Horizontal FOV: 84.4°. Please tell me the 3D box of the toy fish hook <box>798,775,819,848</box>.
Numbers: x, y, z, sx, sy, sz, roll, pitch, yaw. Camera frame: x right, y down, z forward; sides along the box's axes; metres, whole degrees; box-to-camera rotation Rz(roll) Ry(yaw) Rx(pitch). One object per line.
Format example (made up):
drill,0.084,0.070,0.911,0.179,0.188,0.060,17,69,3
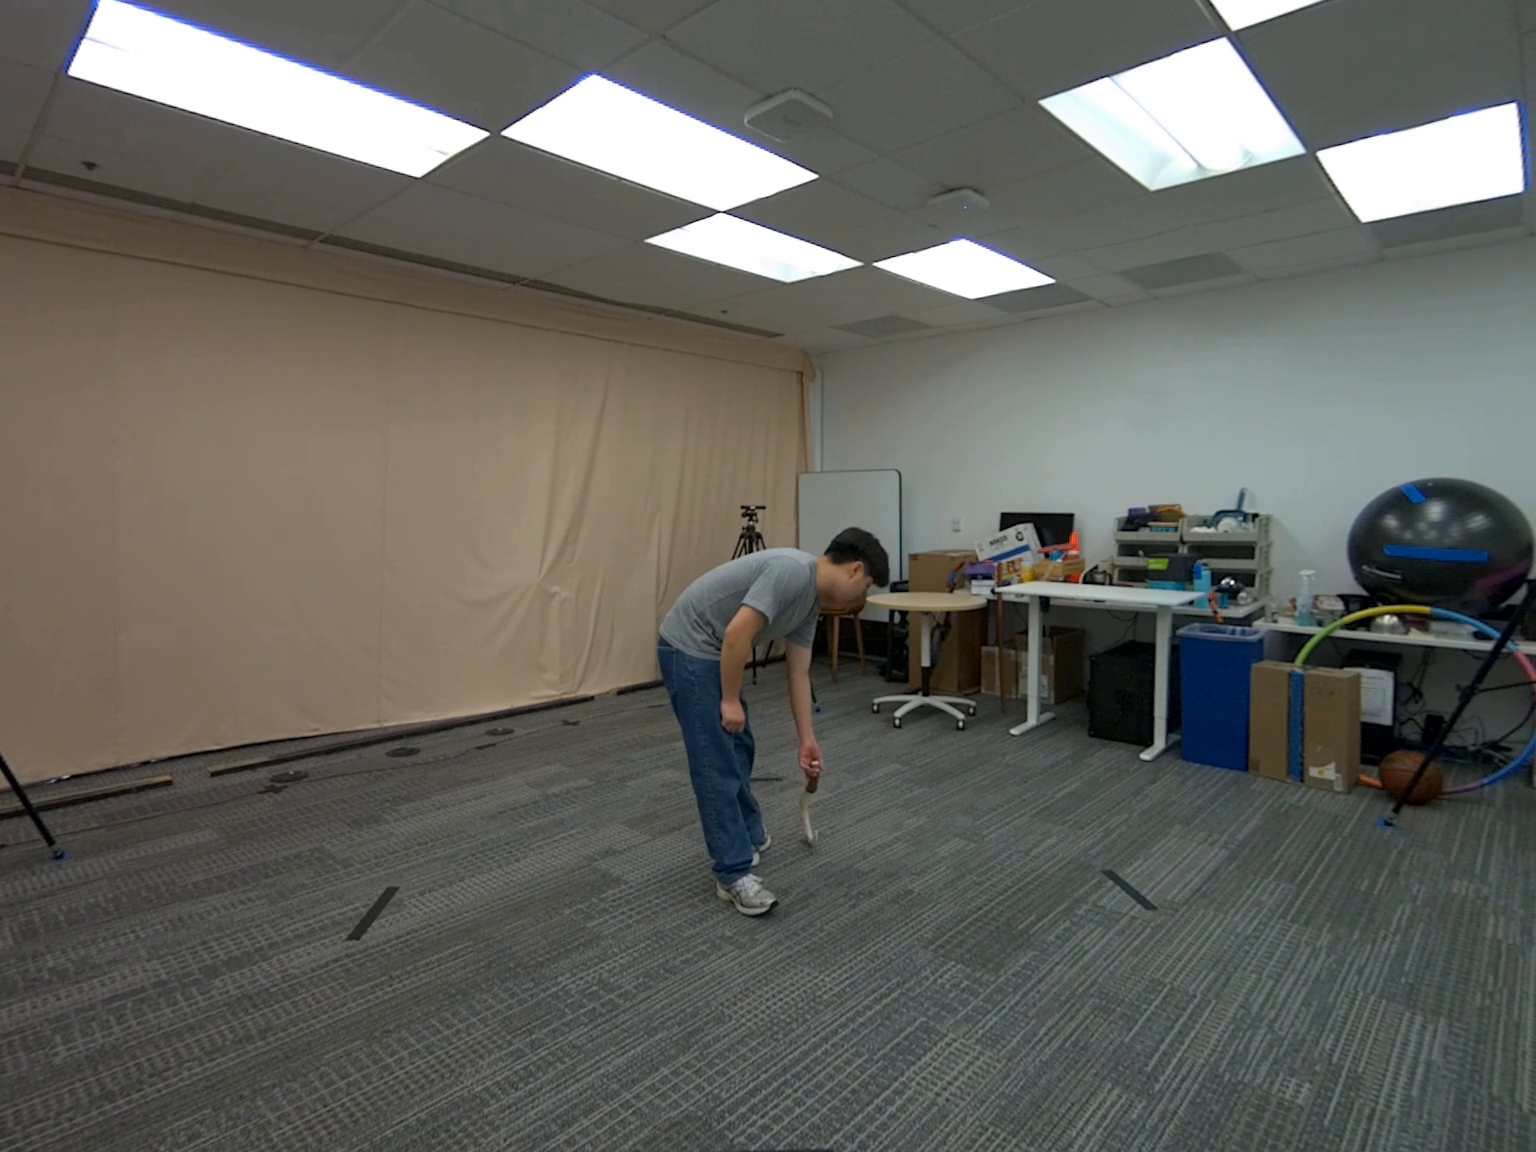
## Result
toy fish hook,0.170,0.910,3.331,0.048,0.230,0.497,-9,-38,-10
